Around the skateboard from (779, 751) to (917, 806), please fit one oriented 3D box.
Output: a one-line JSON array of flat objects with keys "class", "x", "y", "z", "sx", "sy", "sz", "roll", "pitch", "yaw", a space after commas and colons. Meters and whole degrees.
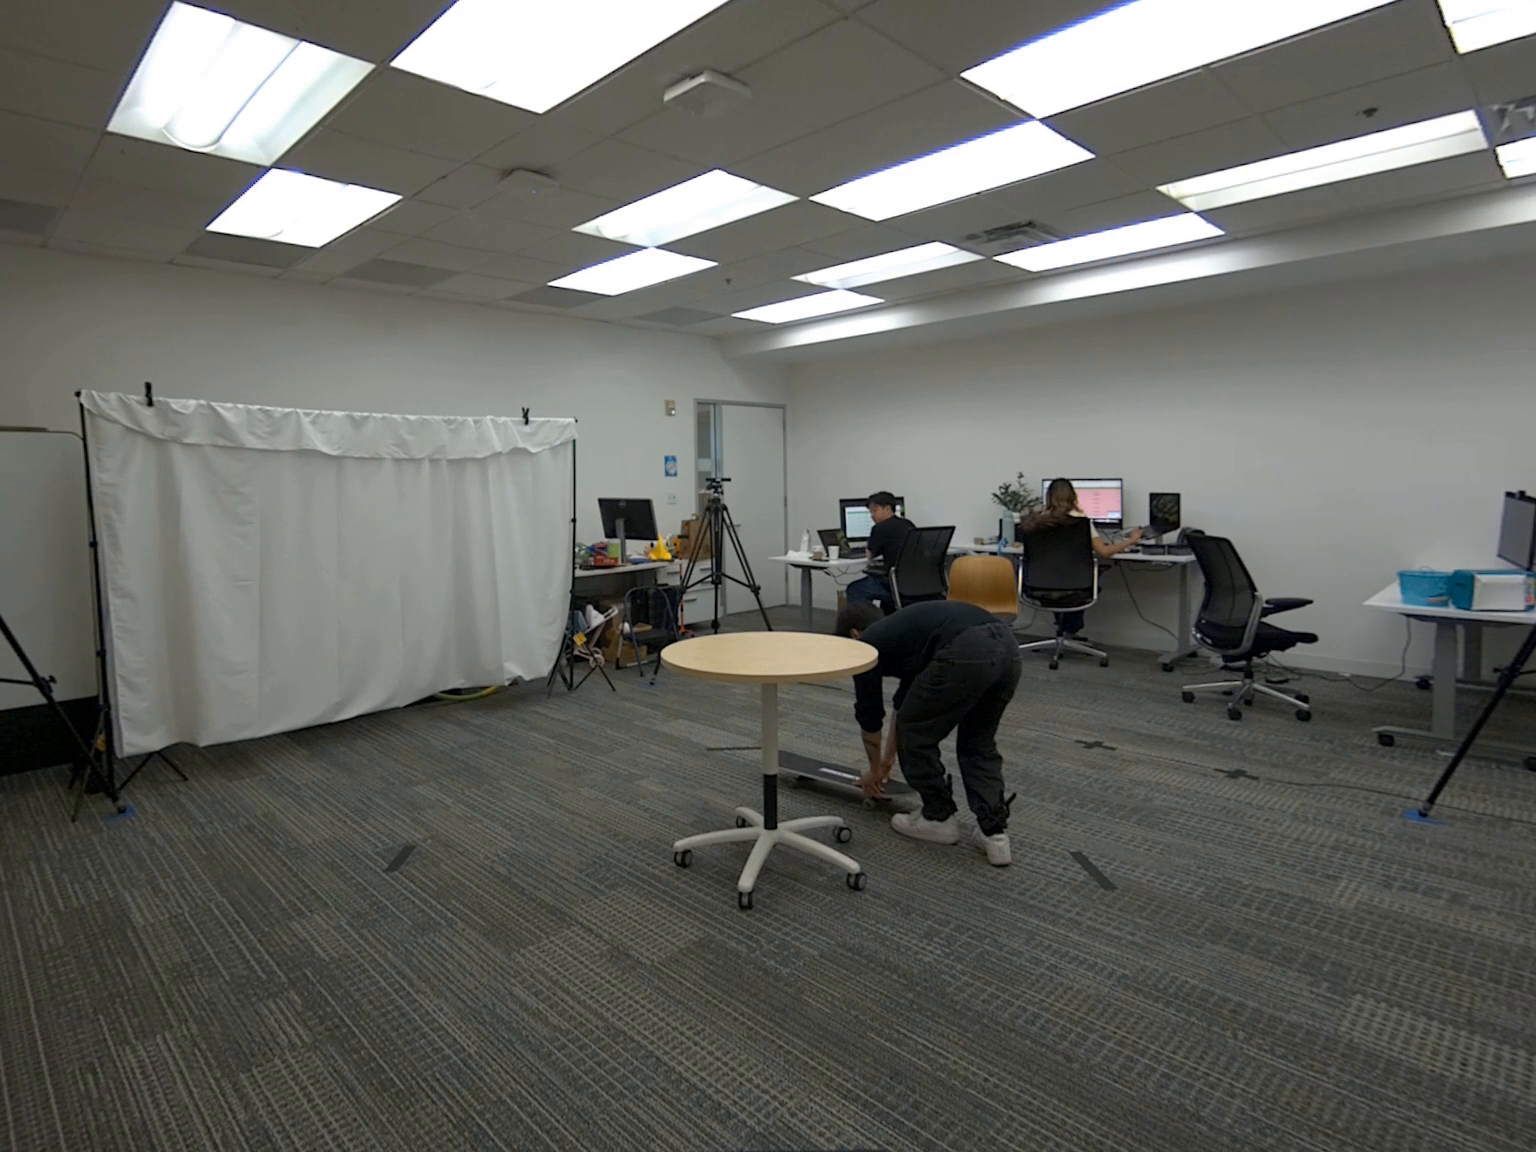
[{"class": "skateboard", "x": 0.323, "y": 0.912, "z": 3.777, "sx": 0.810, "sy": 0.110, "sz": 0.188, "roll": 5, "pitch": 7, "yaw": 40}]
